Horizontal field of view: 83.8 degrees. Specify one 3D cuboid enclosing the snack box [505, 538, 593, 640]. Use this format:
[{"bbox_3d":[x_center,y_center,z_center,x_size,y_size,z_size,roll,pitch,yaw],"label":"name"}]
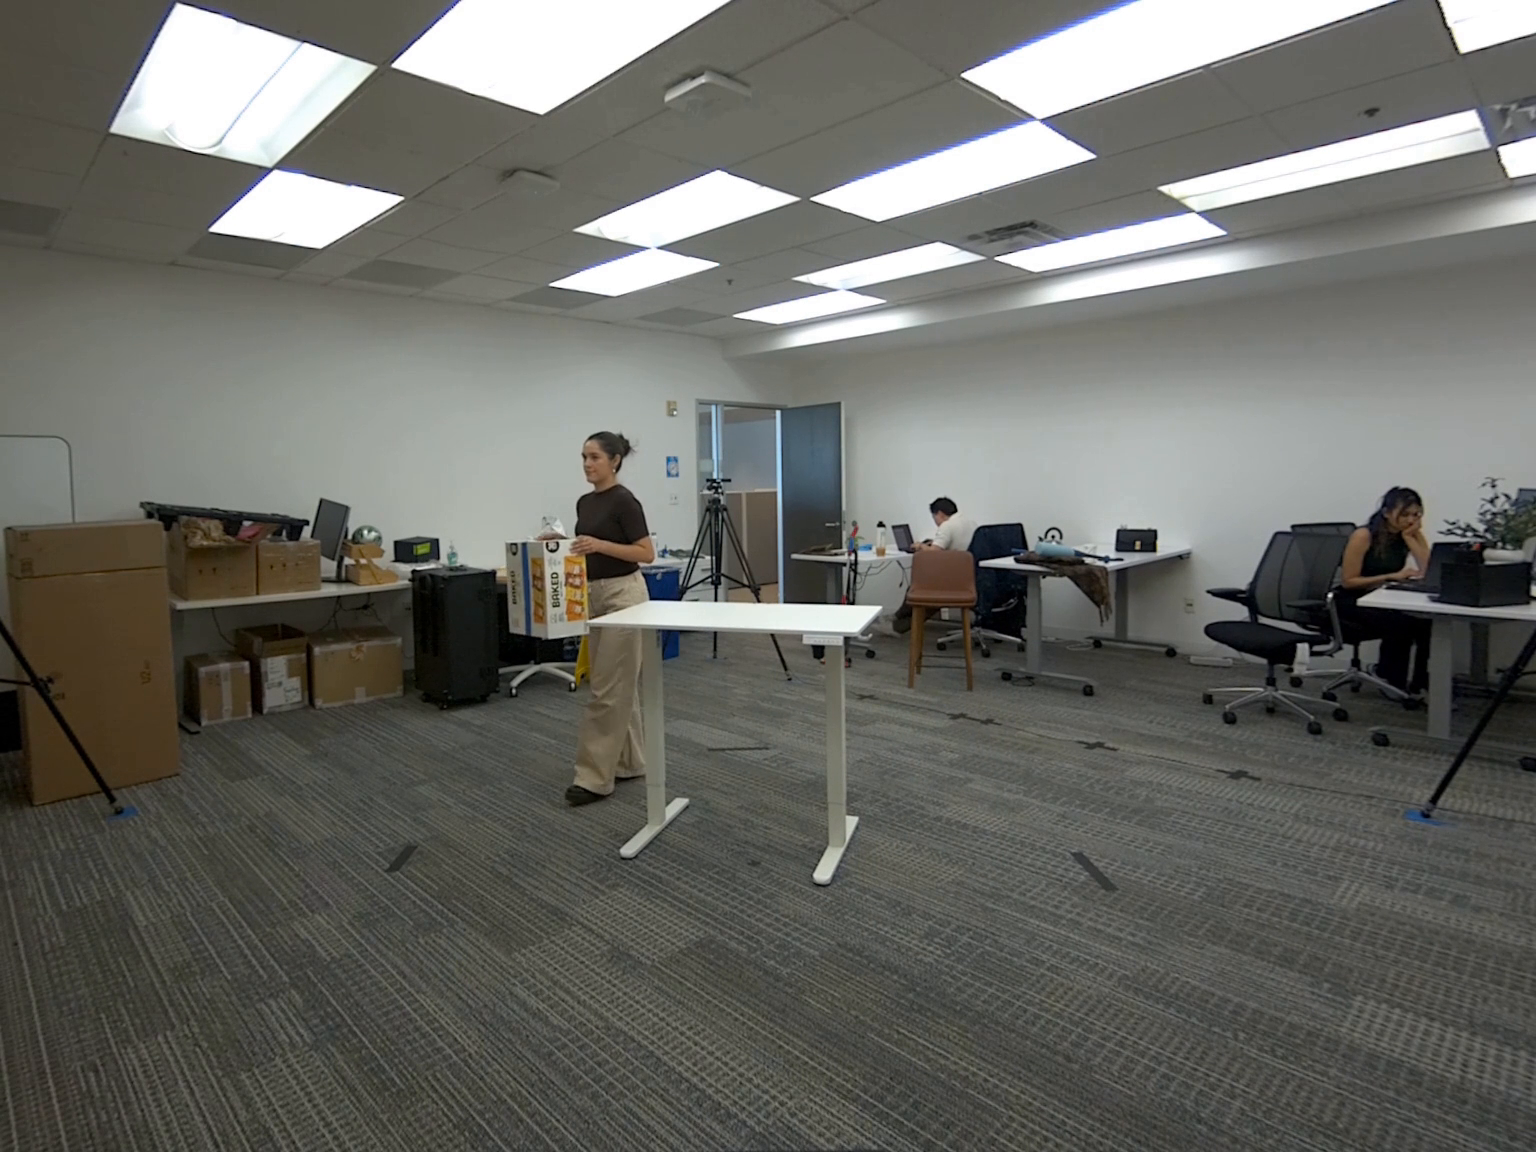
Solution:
[{"bbox_3d":[-0.954,0.046,3.707,0.200,0.405,0.350,-4,2,-43],"label":"snack box"}]
